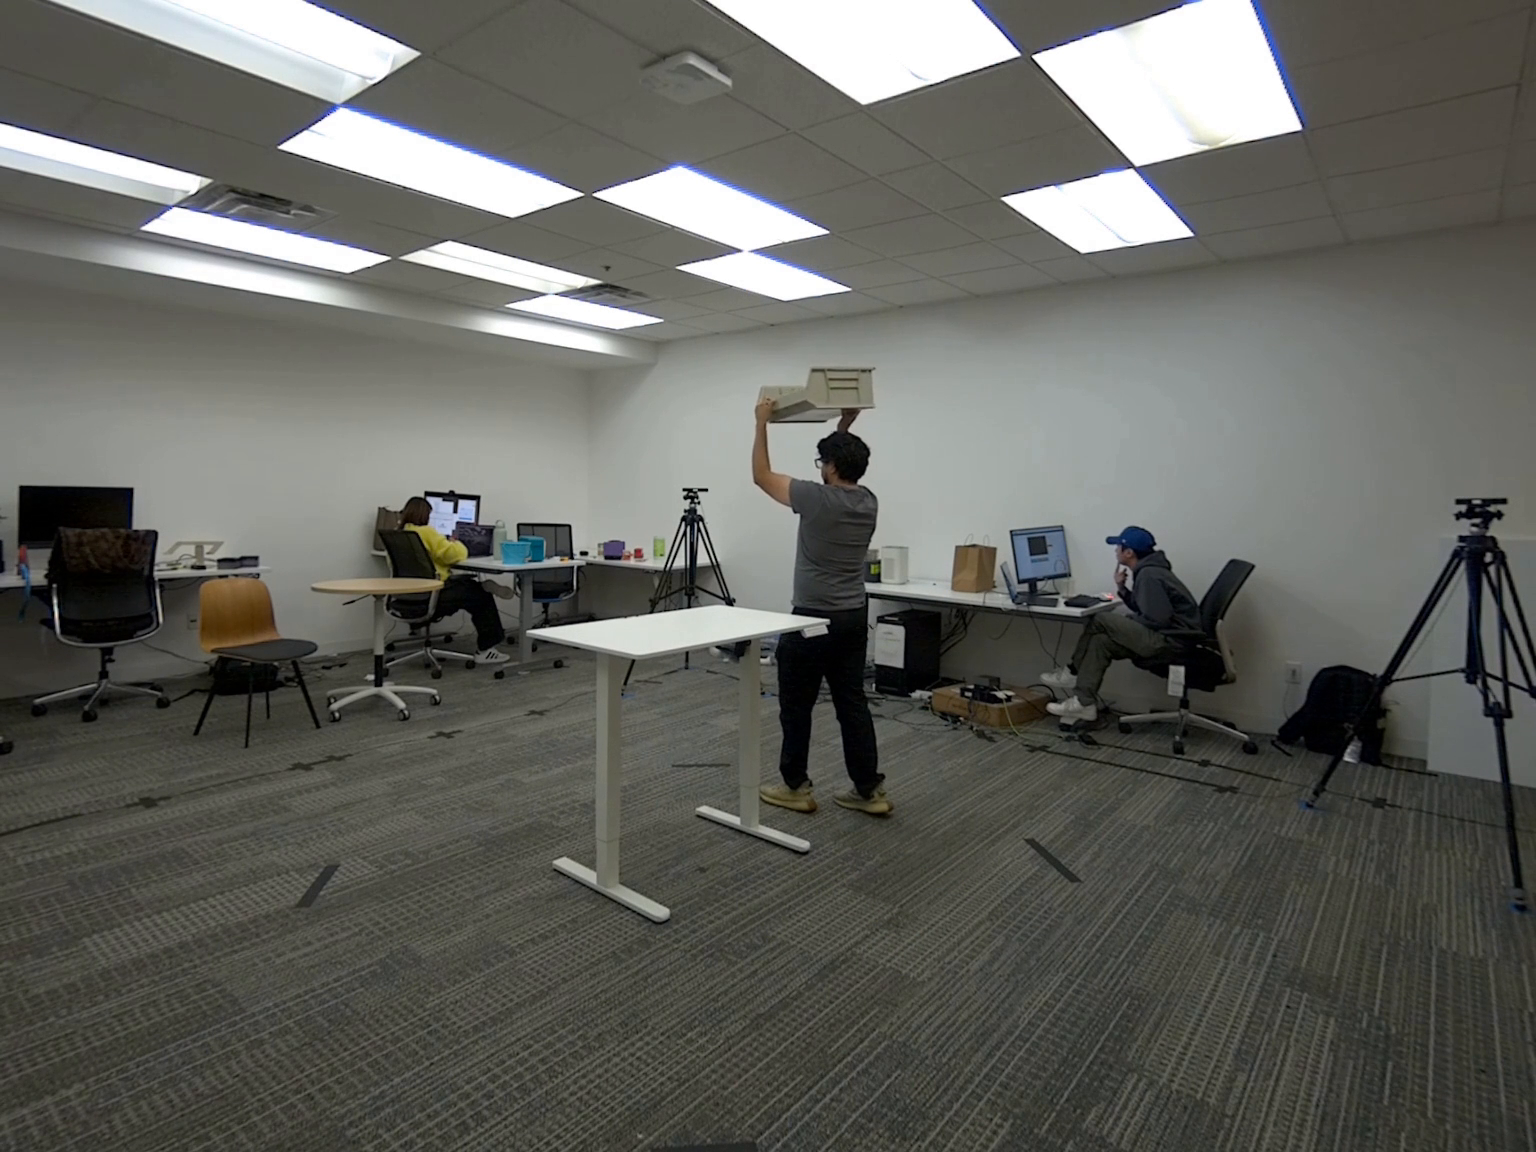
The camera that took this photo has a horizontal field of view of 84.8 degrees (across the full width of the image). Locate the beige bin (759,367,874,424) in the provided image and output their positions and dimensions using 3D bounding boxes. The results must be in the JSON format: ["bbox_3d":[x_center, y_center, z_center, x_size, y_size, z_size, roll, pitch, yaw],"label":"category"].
[{"bbox_3d":[0.203,-0.814,3.843,0.368,0.189,0.433,-6,2,-29],"label":"beige bin"}]
